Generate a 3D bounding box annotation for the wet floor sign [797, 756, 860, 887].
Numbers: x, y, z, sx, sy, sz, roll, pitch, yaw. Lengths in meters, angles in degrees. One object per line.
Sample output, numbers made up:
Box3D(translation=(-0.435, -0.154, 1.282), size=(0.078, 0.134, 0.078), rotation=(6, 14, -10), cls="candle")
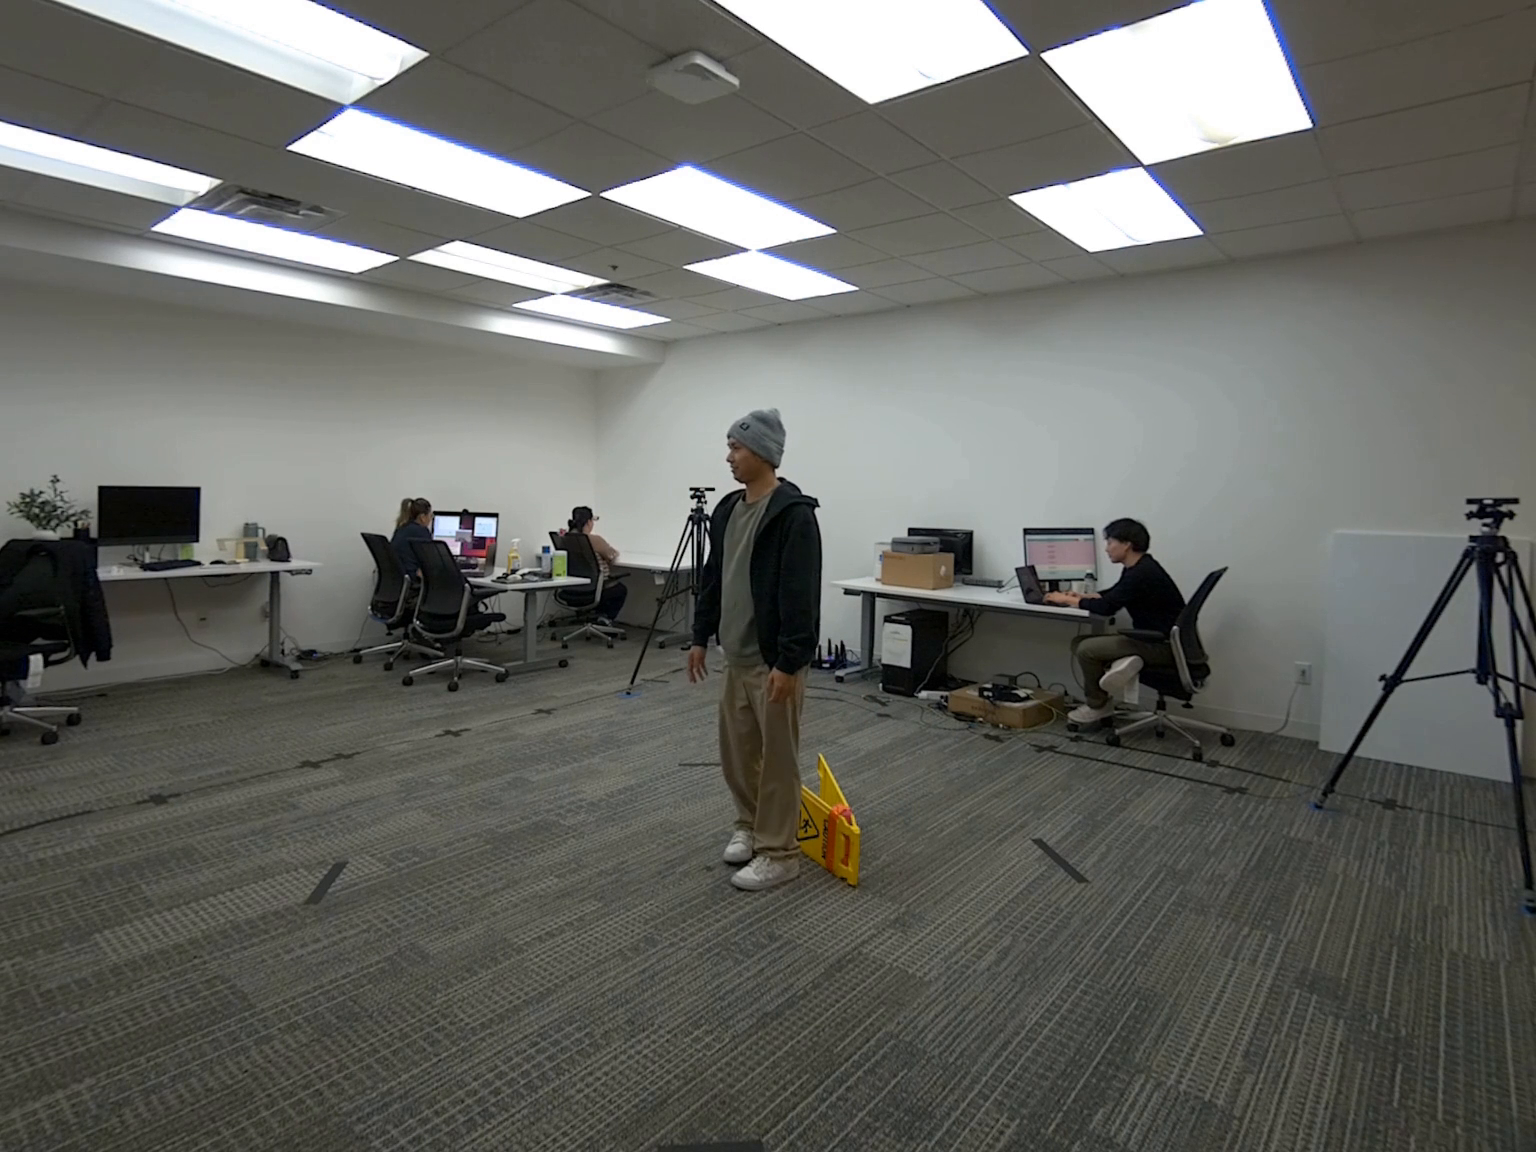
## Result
Box3D(translation=(0.203, 0.934, 3.276), size=(0.284, 0.280, 0.662), rotation=(0, 8, -19), cls="wet floor sign")
